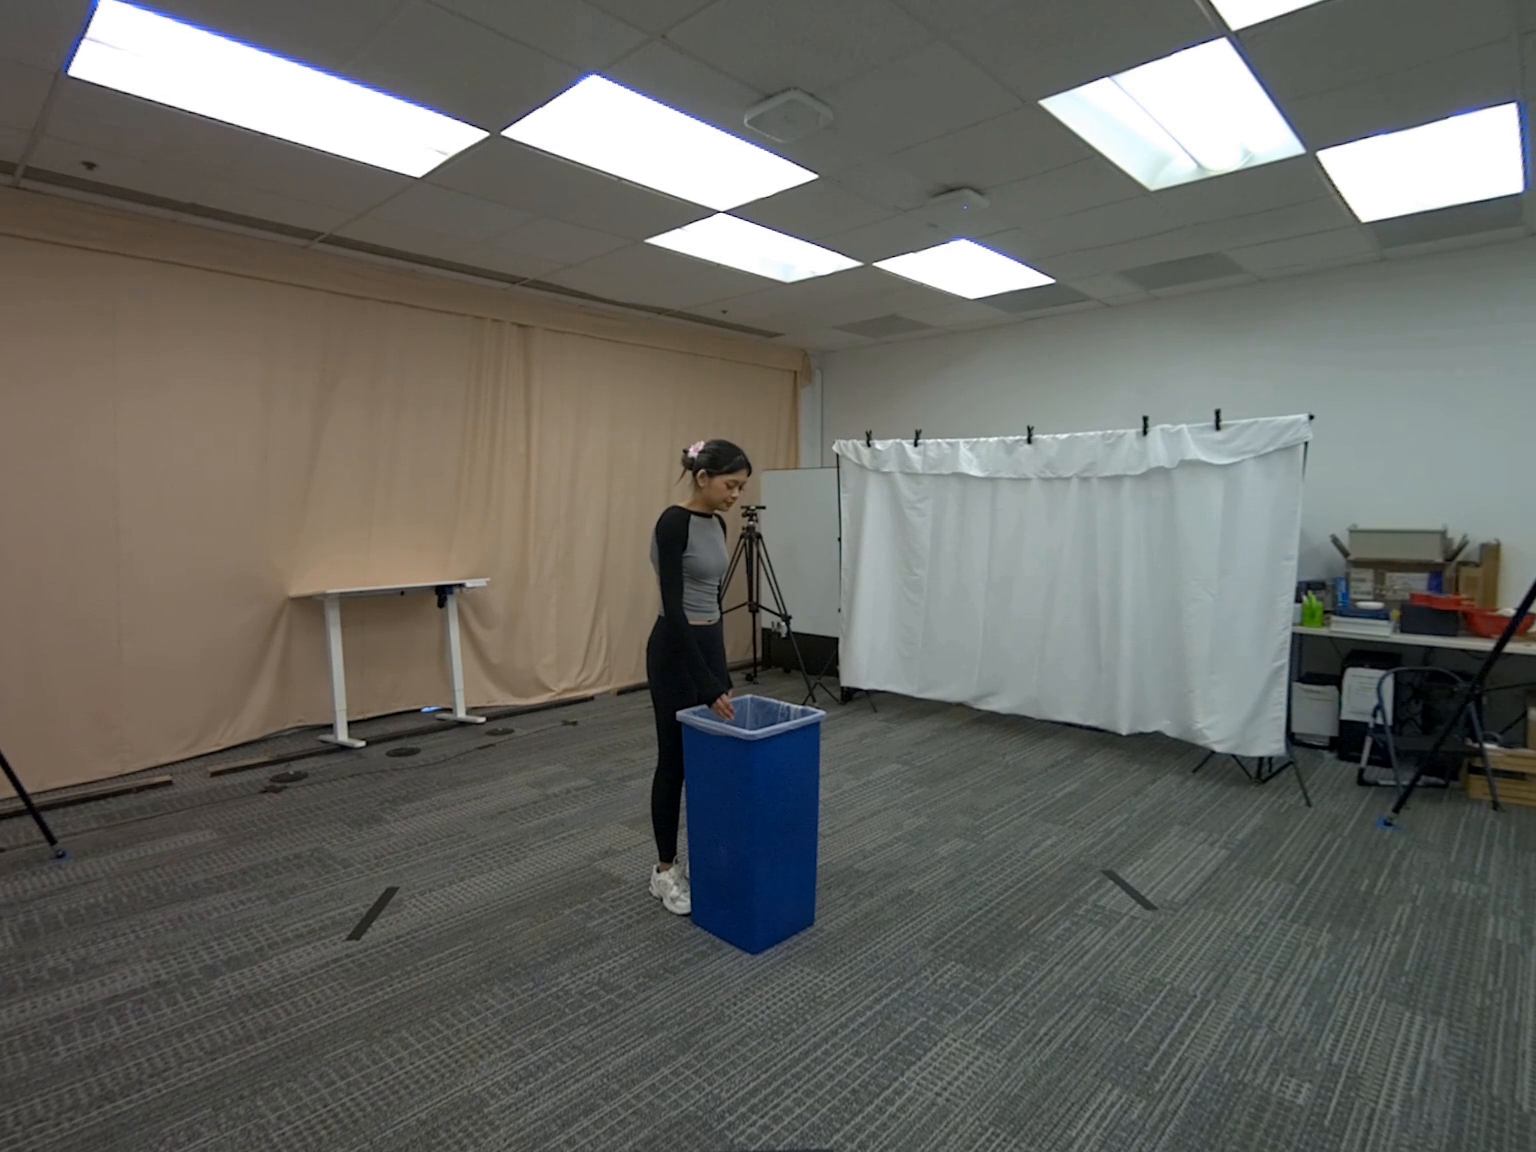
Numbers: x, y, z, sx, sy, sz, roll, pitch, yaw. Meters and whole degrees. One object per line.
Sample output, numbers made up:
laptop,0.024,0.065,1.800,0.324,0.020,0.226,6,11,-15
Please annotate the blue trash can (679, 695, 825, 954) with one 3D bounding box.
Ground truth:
blue trash can,-0.049,0.802,2.784,0.391,0.712,0.362,3,4,44
